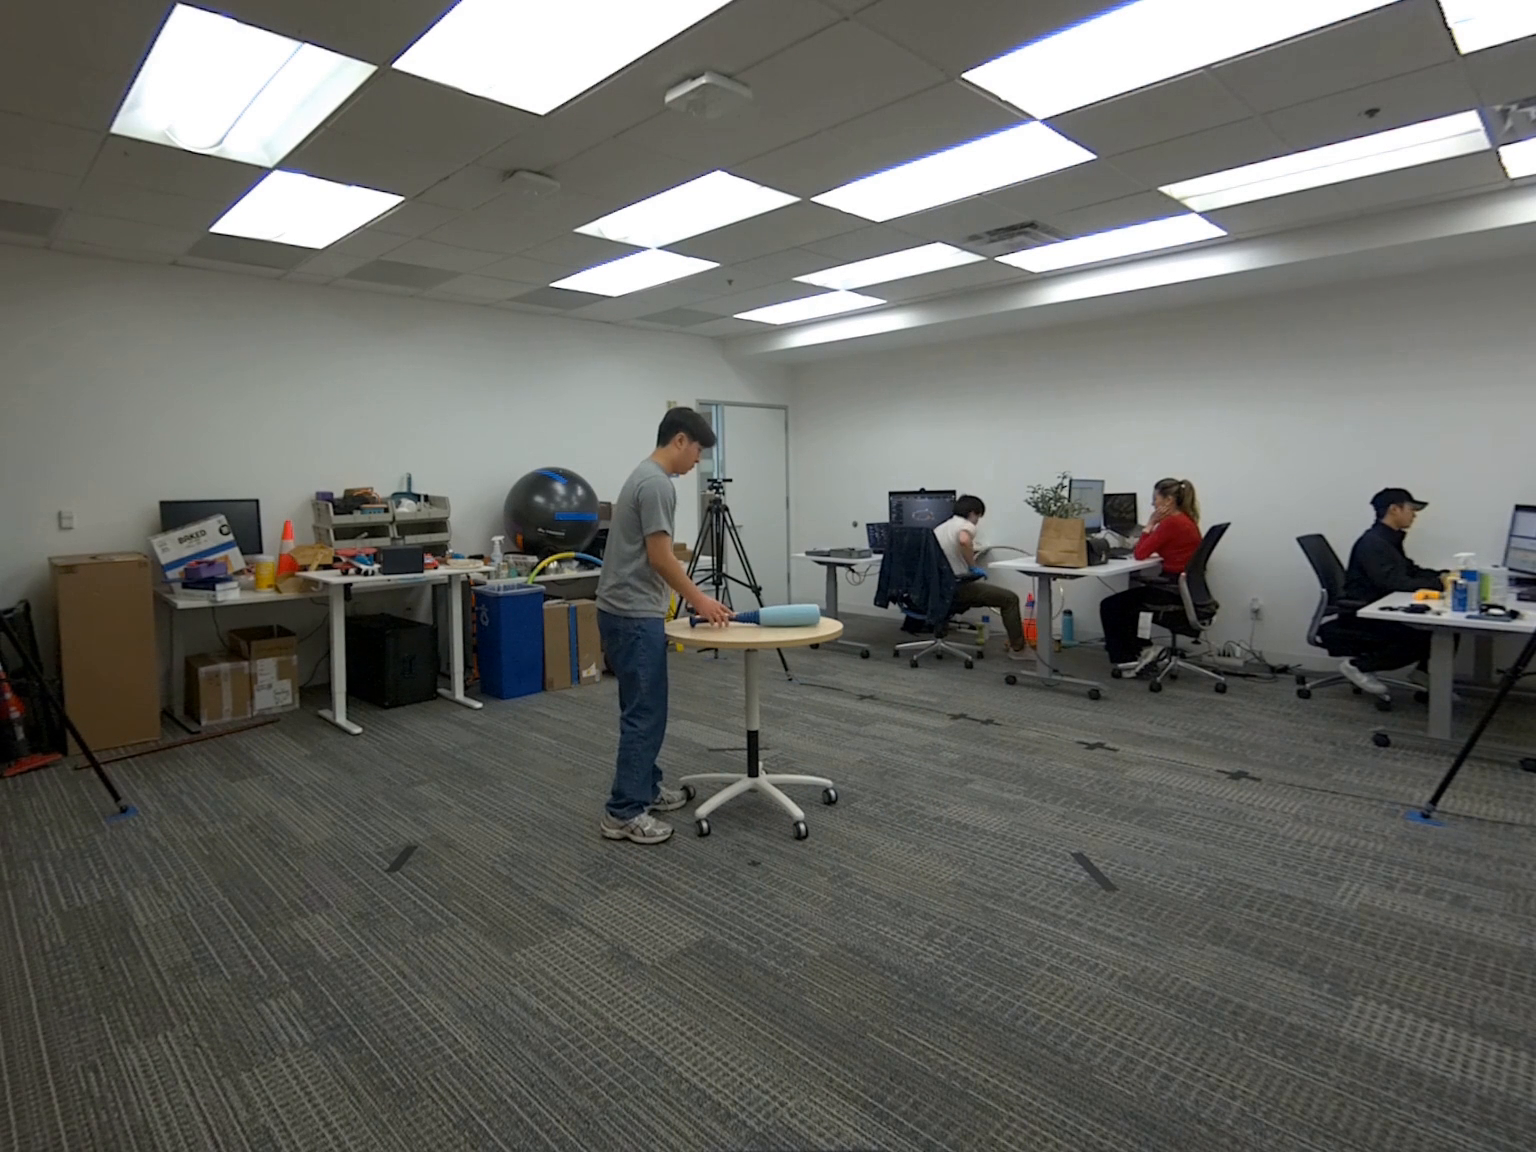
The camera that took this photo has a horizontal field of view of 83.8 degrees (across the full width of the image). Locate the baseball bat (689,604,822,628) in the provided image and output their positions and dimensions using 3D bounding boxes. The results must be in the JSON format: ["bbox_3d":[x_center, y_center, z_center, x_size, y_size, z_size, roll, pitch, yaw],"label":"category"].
[{"bbox_3d":[-0.056,0.173,3.544,0.544,0.089,0.089,-3,5,1],"label":"baseball bat"}]
